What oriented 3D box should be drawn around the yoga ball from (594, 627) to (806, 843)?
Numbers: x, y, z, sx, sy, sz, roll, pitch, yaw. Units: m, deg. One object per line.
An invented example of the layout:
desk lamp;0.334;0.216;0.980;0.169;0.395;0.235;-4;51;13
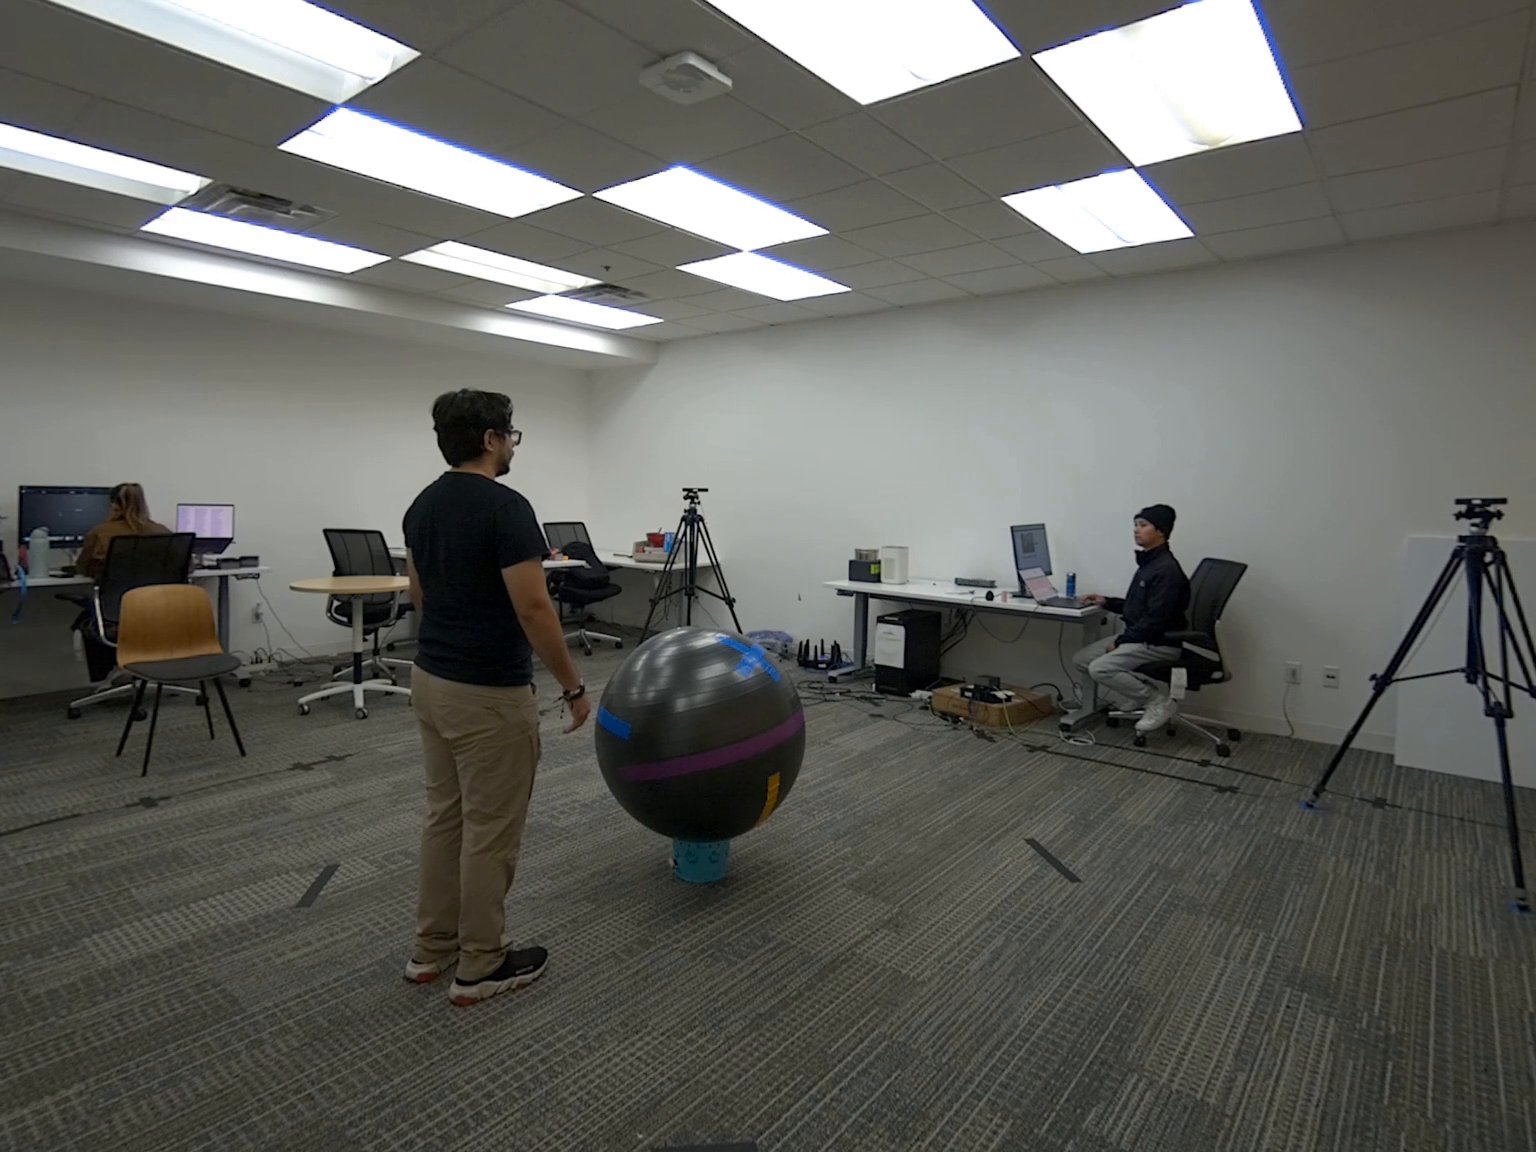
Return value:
yoga ball;-0.260;0.561;3.068;0.757;0.756;0.762;1;4;-2
